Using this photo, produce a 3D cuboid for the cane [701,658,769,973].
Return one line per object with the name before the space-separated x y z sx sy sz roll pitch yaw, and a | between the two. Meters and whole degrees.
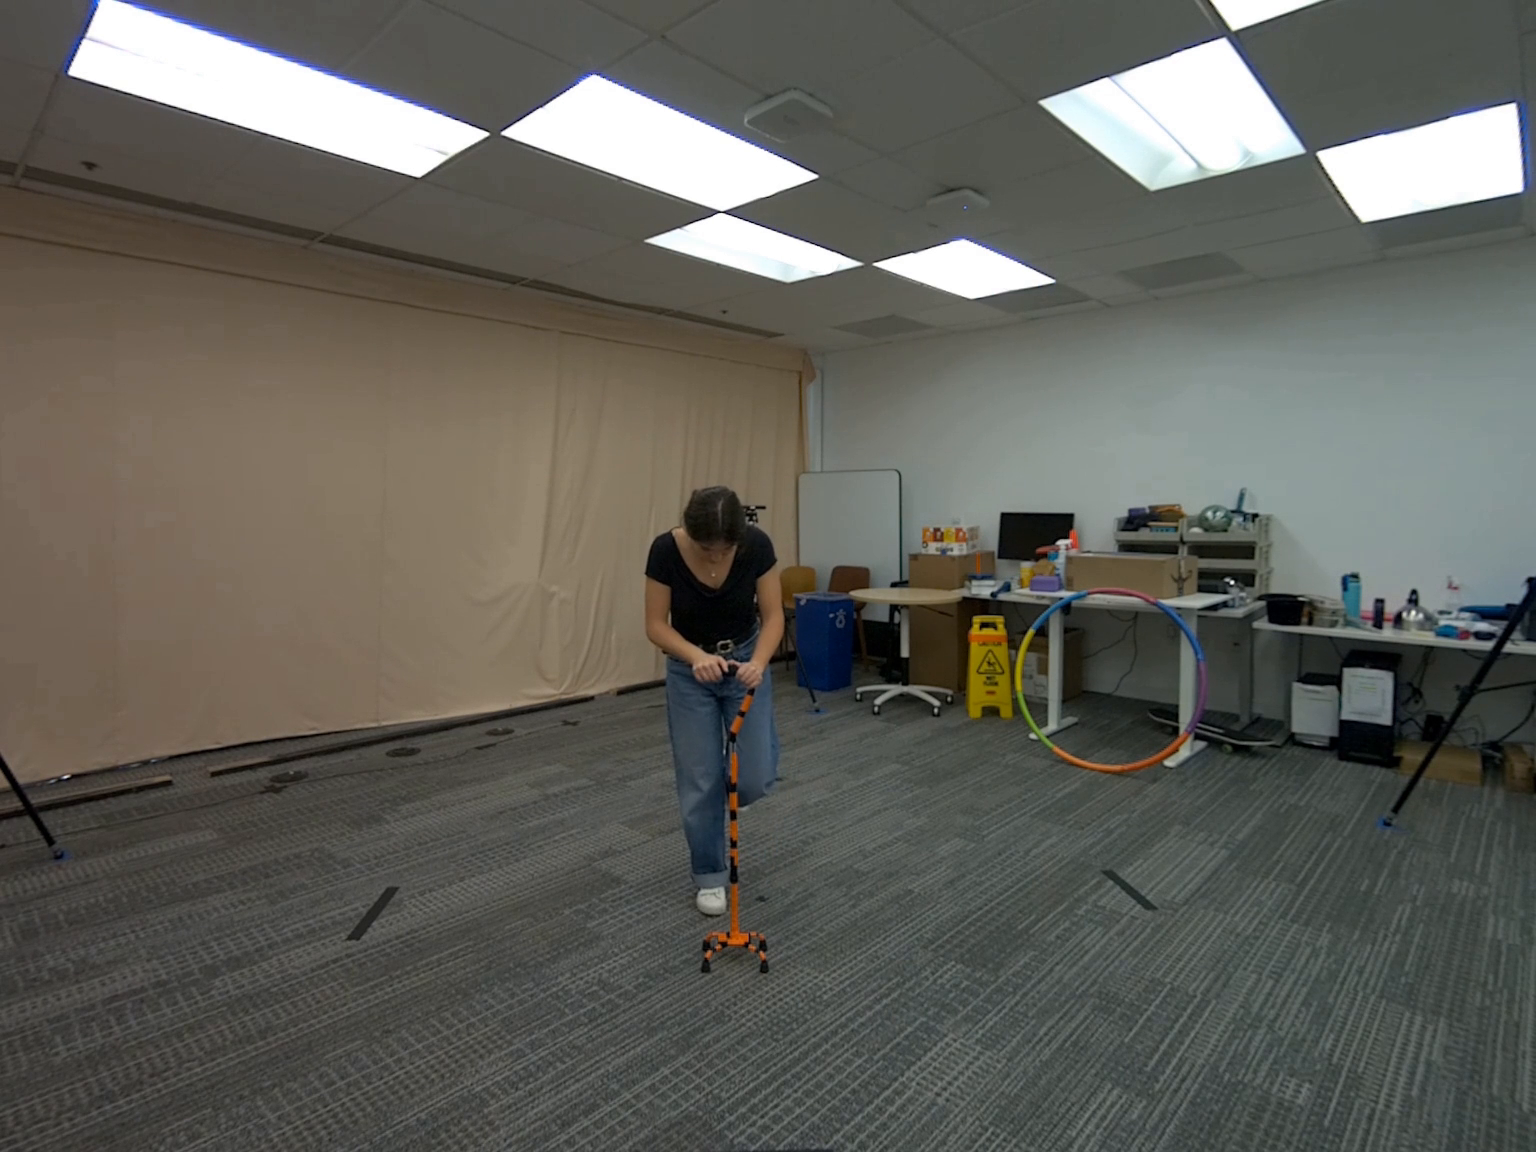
cane | -0.099 0.721 2.557 0.206 0.906 0.152 0 3 -1
